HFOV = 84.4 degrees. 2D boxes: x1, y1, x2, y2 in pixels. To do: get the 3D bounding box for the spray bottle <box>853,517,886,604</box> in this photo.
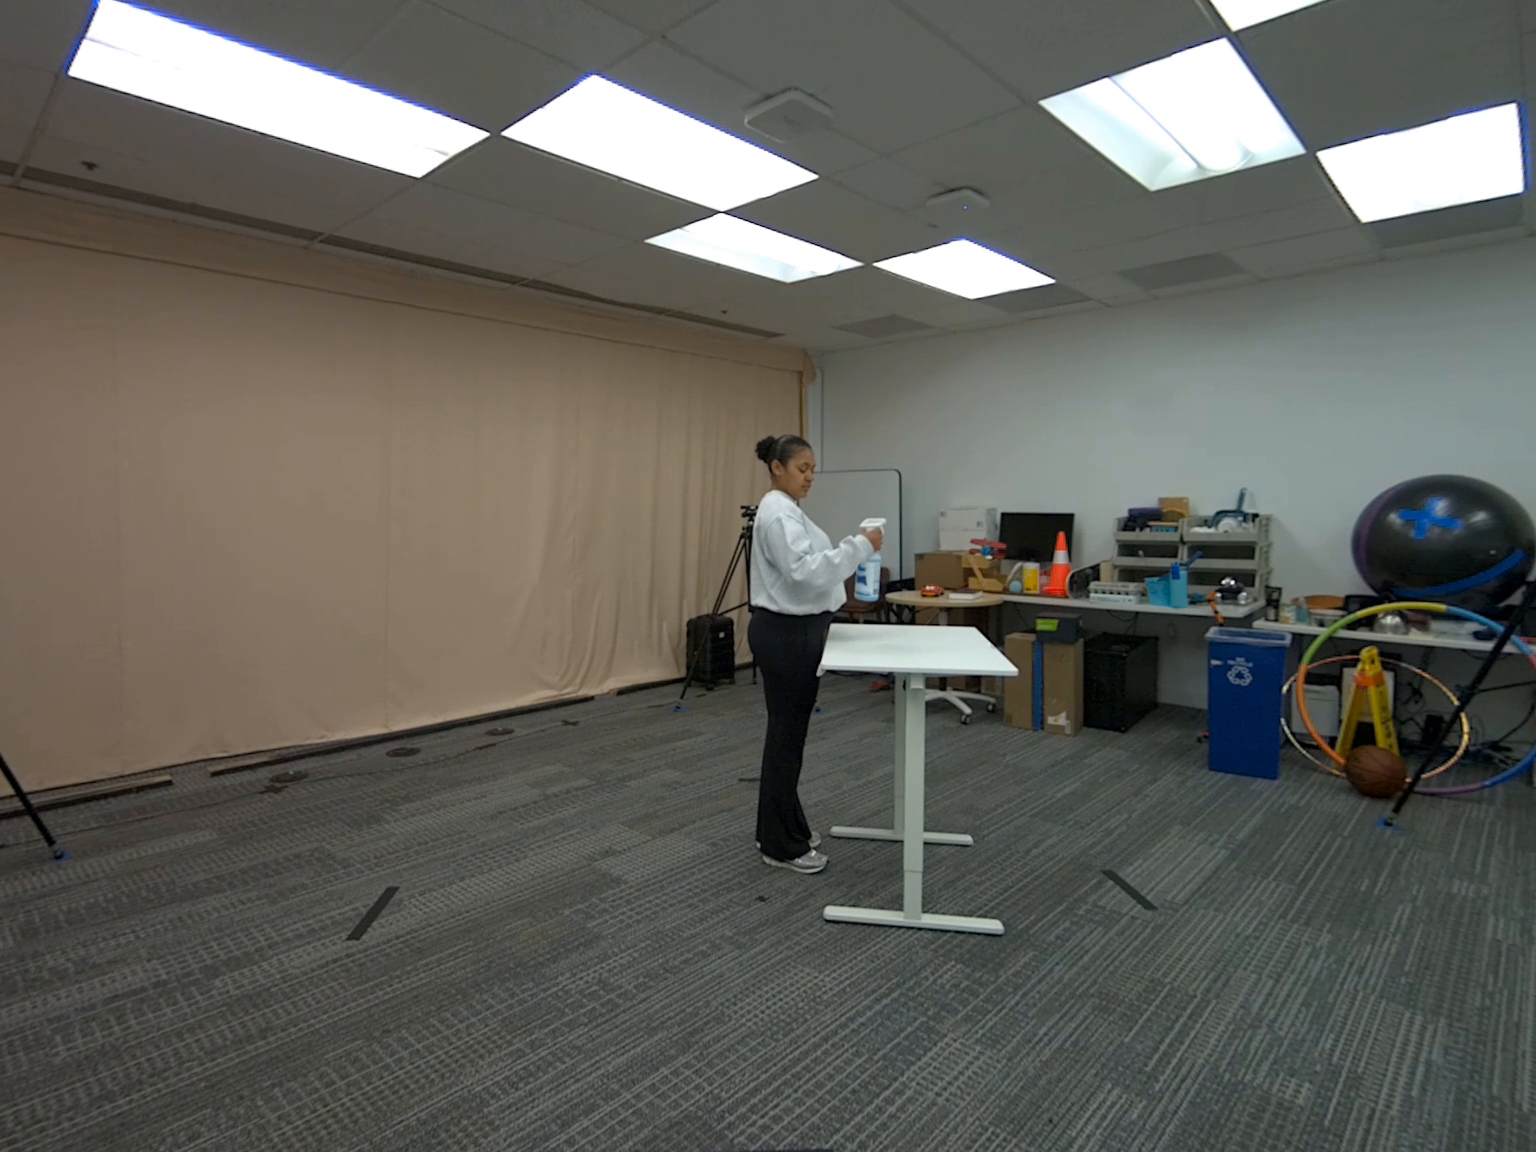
[{"bbox_3d":[0.368,-0.060,3.042,0.092,0.295,0.085,7,12,23],"label":"spray bottle"}]
